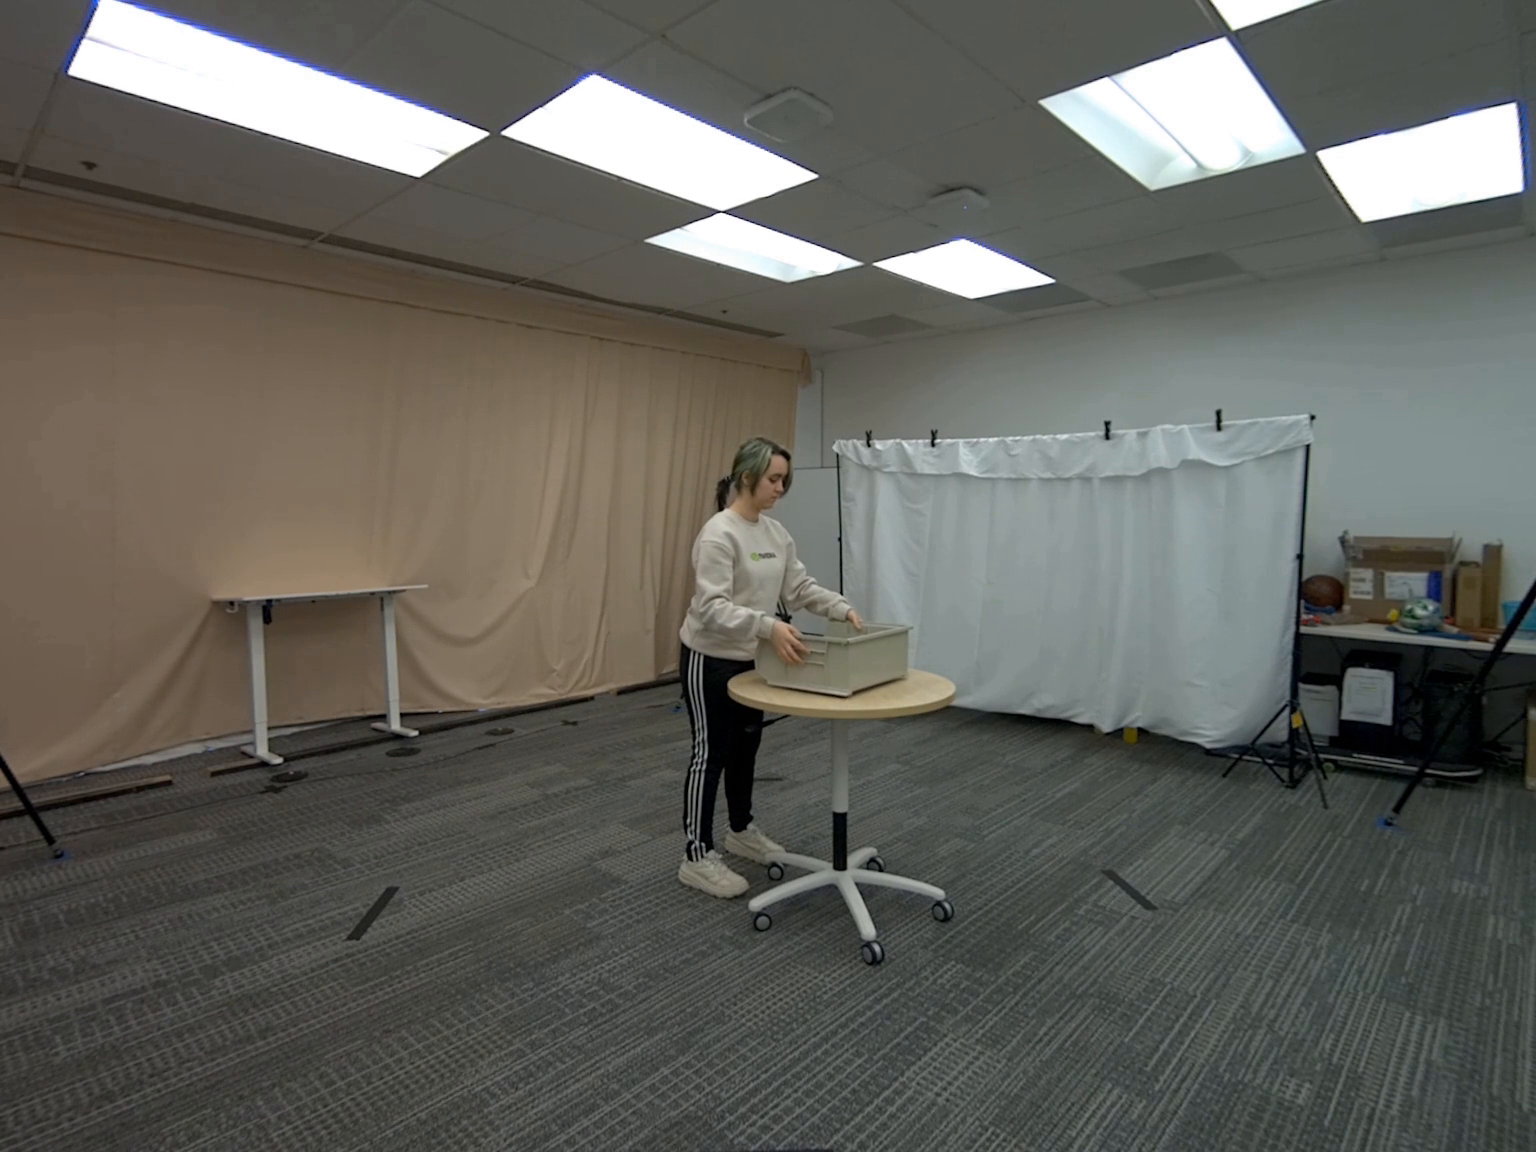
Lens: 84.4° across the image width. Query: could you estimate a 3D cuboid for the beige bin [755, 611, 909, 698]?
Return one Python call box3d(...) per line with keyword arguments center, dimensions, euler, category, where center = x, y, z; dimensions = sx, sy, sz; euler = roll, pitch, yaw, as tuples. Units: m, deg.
box3d(center=(0.231, 0.267, 2.885), dimensions=(0.390, 0.188, 0.409), euler=(5, 6, 39), category="beige bin")
